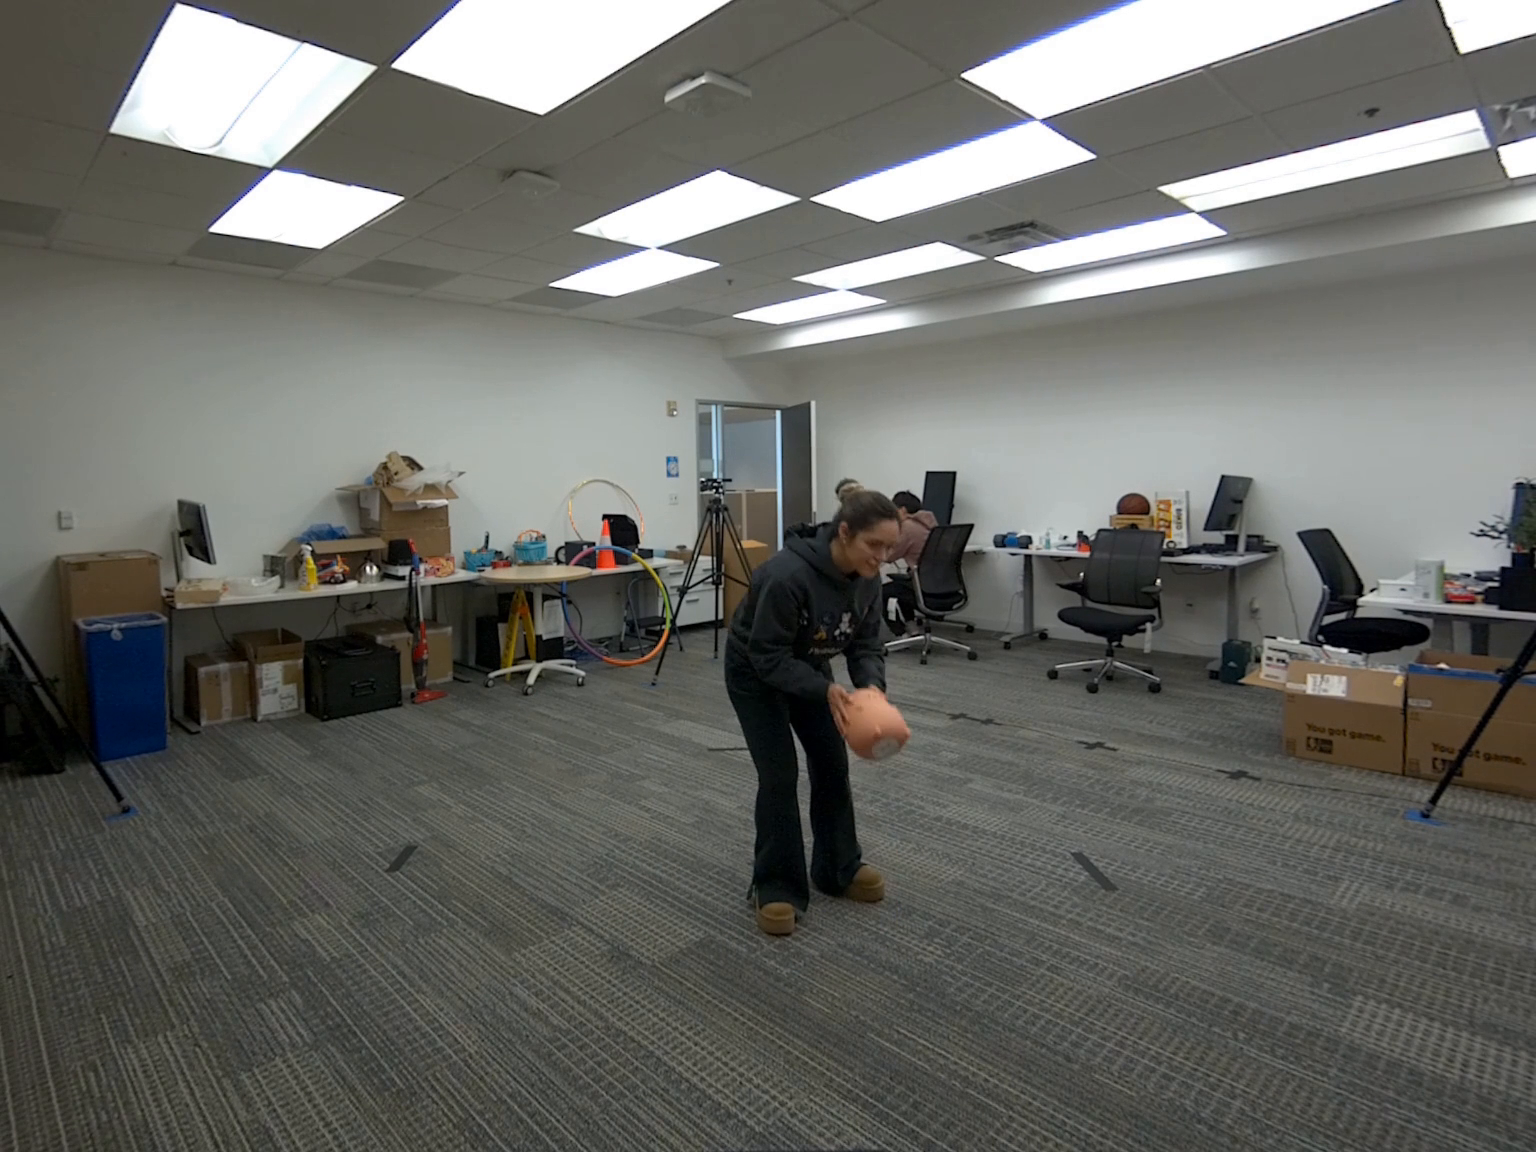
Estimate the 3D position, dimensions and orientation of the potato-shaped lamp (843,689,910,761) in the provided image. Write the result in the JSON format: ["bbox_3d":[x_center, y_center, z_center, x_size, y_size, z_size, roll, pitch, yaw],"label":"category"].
[{"bbox_3d":[0.291,0.444,2.412,0.161,0.203,0.171,10,-32,-25],"label":"potato-shaped lamp"}]
